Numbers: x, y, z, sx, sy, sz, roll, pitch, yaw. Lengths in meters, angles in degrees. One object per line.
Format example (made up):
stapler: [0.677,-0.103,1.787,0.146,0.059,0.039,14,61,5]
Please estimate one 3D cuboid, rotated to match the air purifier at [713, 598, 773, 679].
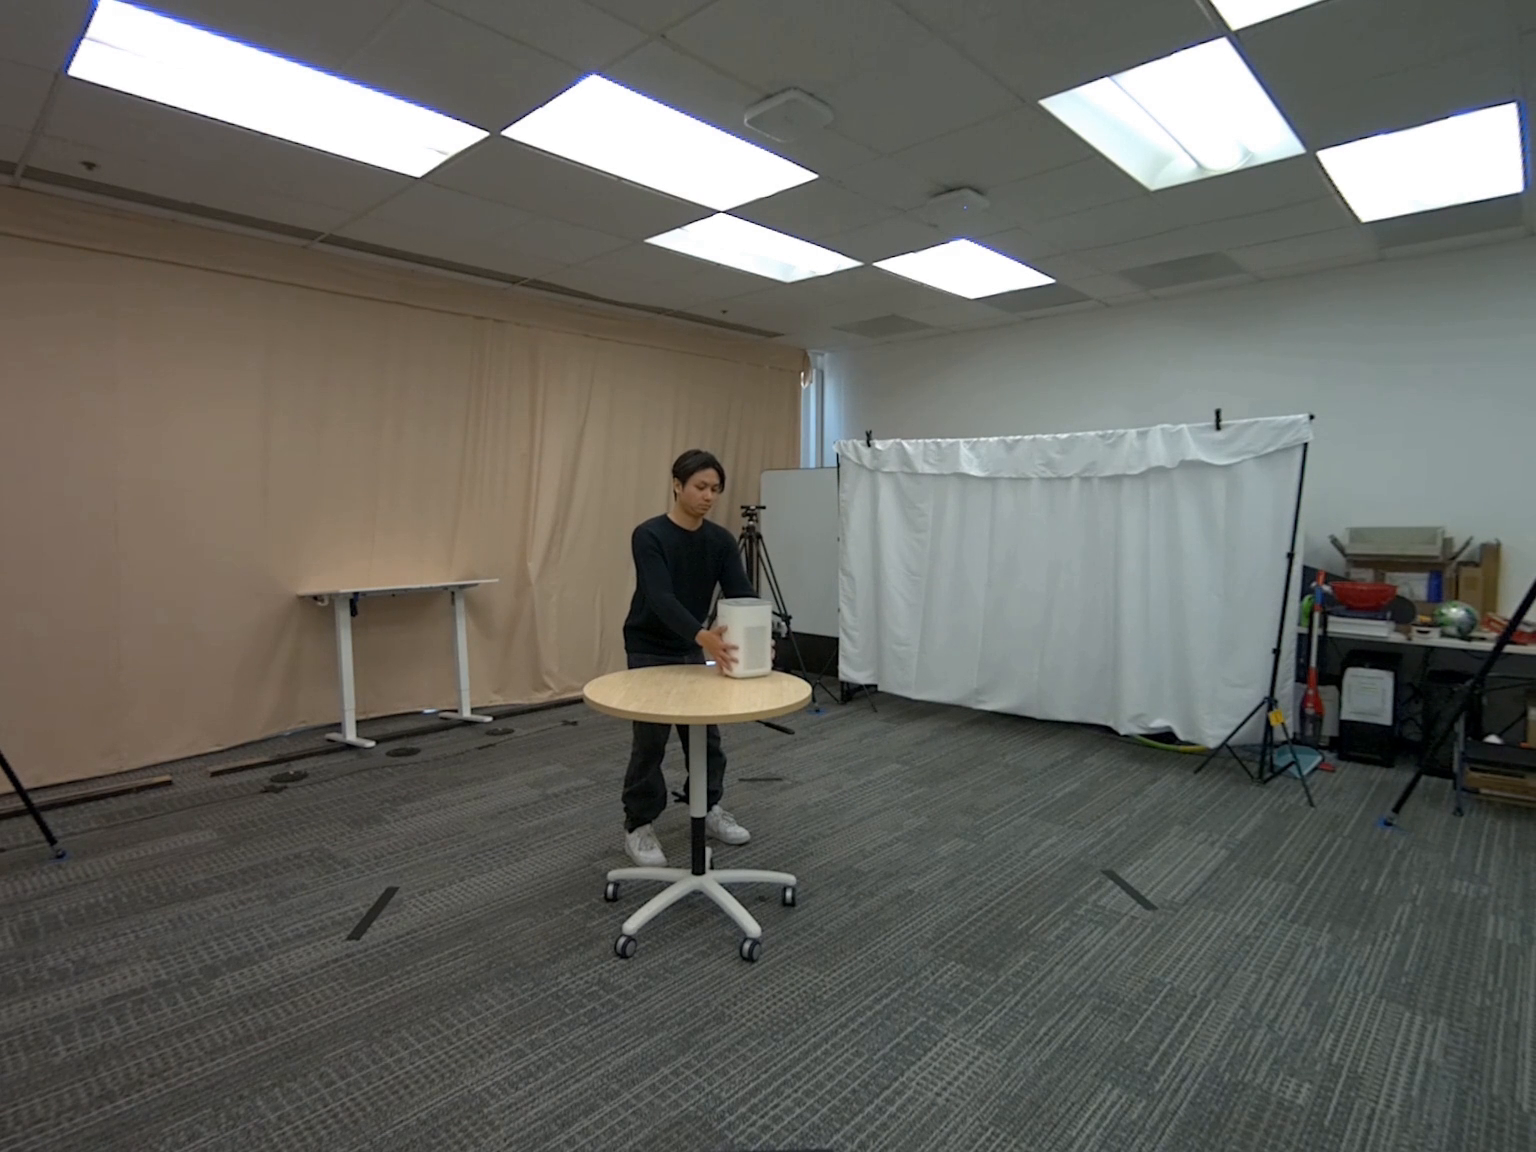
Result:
air purifier: [-0.089,0.223,3.031,0.167,0.265,0.176,-1,4,-31]
